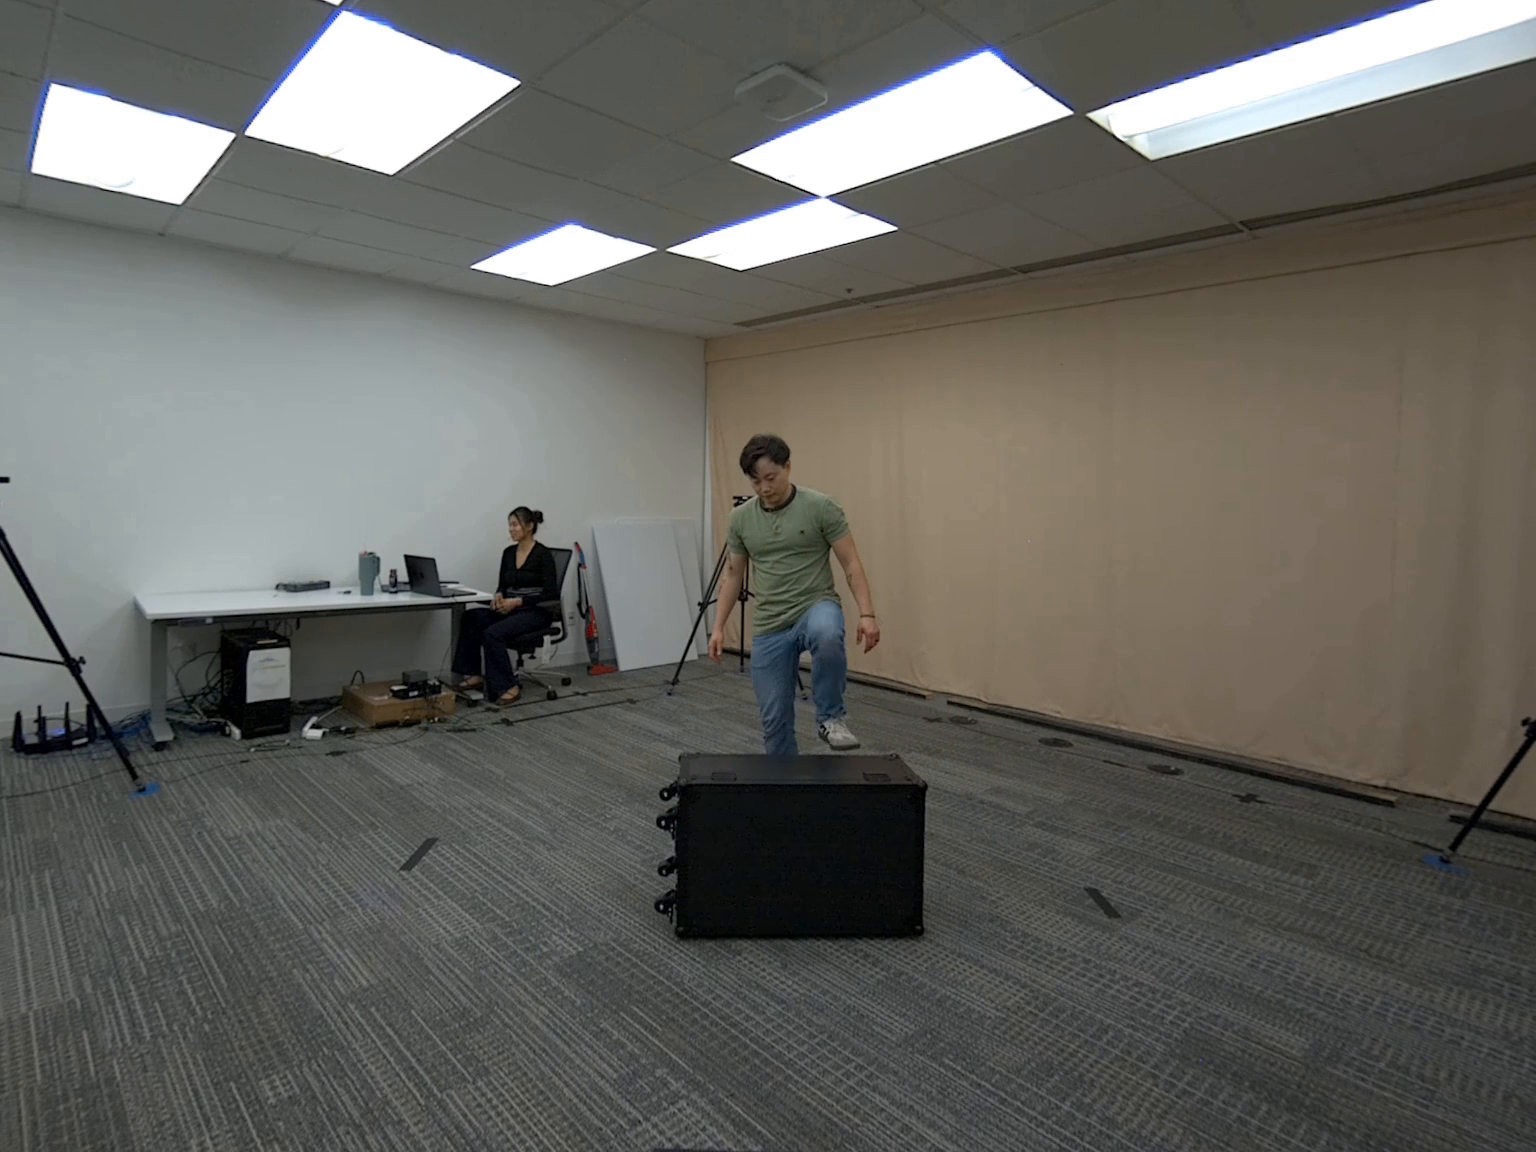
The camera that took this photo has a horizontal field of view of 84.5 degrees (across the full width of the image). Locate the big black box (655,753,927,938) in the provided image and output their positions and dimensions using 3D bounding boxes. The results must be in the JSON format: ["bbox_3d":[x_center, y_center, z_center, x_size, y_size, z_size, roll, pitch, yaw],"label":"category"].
[{"bbox_3d":[0.055,0.876,2.826,0.858,0.521,0.398,1,1,-4],"label":"big black box"}]
